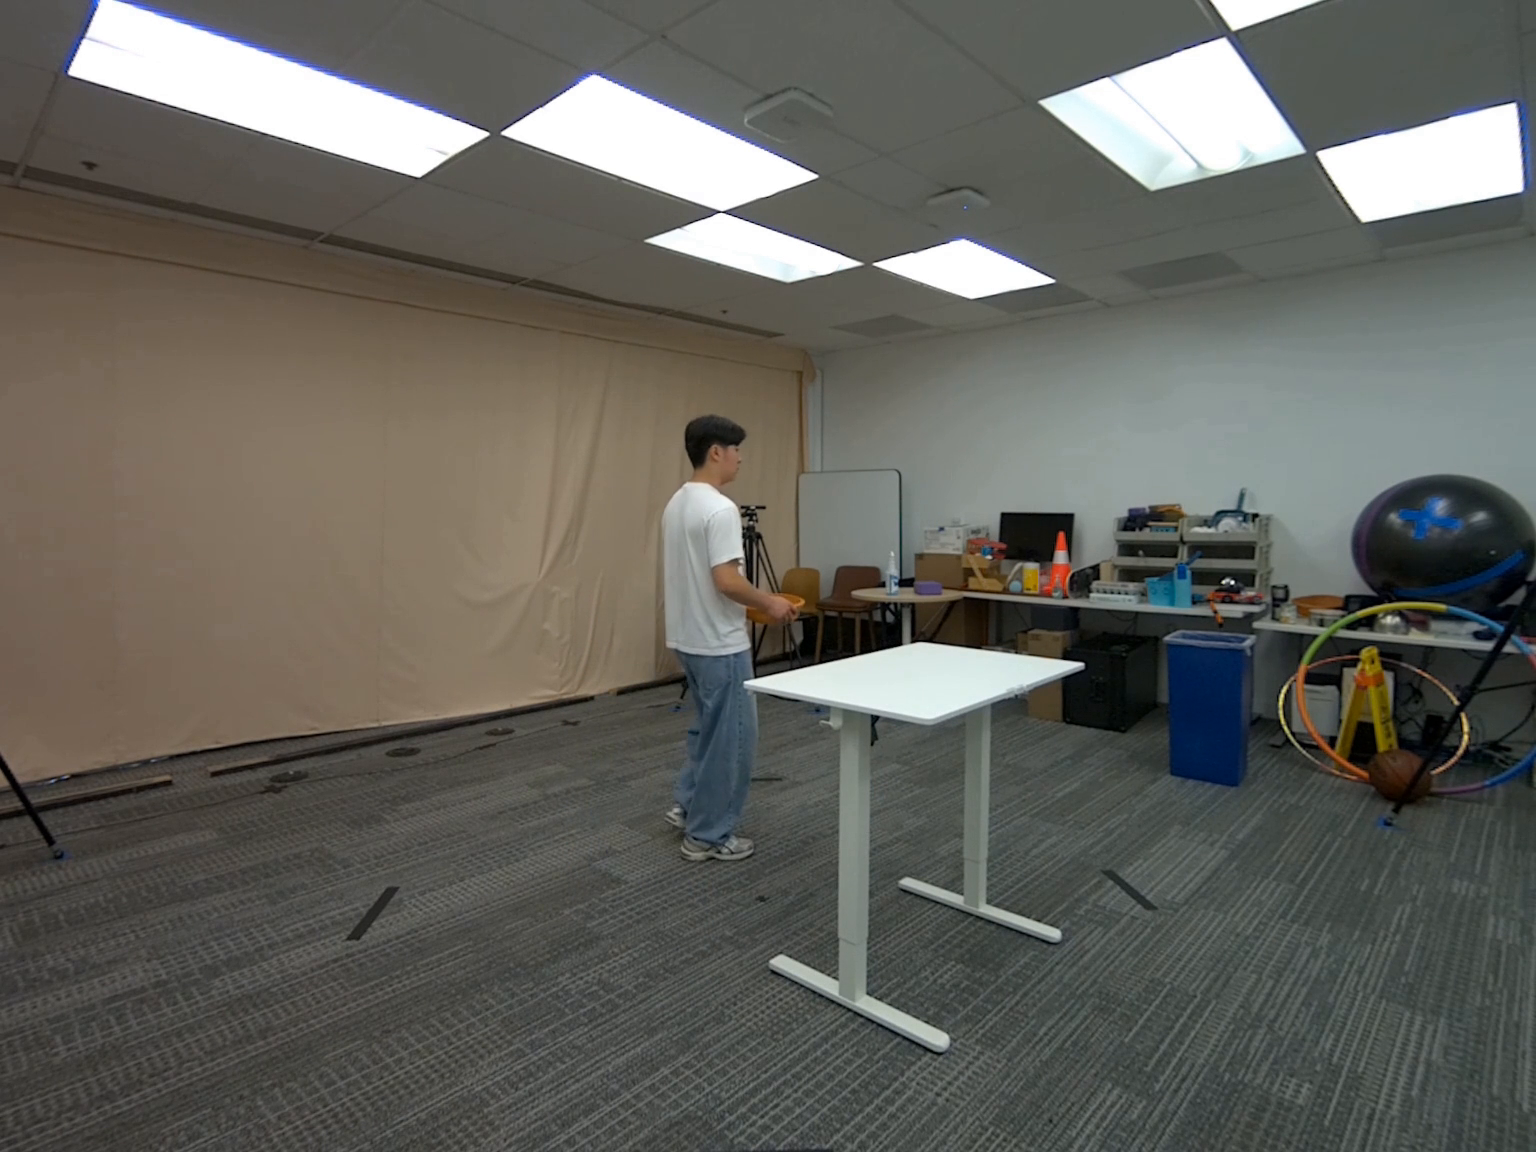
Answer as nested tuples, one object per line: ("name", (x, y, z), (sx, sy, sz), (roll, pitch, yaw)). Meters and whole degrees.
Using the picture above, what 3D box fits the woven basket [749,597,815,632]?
("woven basket", (-0.021, 0.143, 3.435), (0.246, 0.073, 0.361), (-9, 9, -30))
